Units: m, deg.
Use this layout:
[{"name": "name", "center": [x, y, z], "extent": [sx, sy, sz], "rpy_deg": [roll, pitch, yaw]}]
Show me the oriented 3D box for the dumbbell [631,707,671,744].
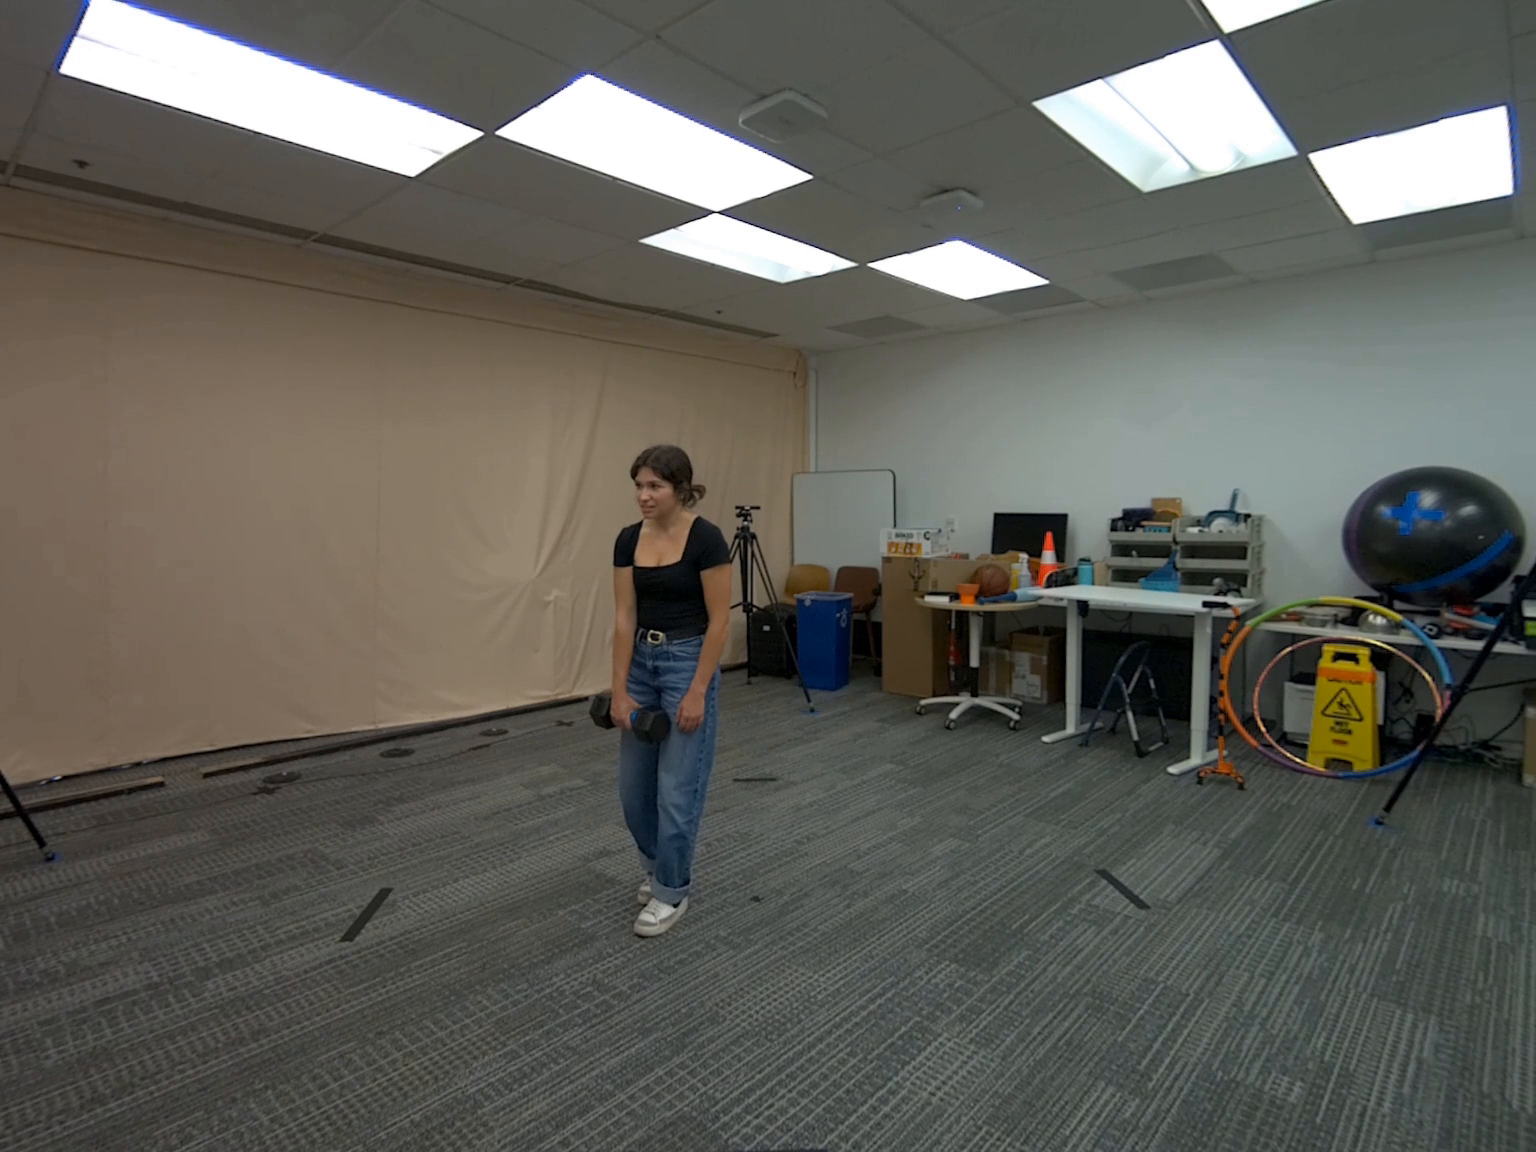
[{"name": "dumbbell", "center": [-0.456, 0.470, 2.790], "extent": [0.303, 0.120, 0.107], "rpy_deg": [5, 36, 40]}]
